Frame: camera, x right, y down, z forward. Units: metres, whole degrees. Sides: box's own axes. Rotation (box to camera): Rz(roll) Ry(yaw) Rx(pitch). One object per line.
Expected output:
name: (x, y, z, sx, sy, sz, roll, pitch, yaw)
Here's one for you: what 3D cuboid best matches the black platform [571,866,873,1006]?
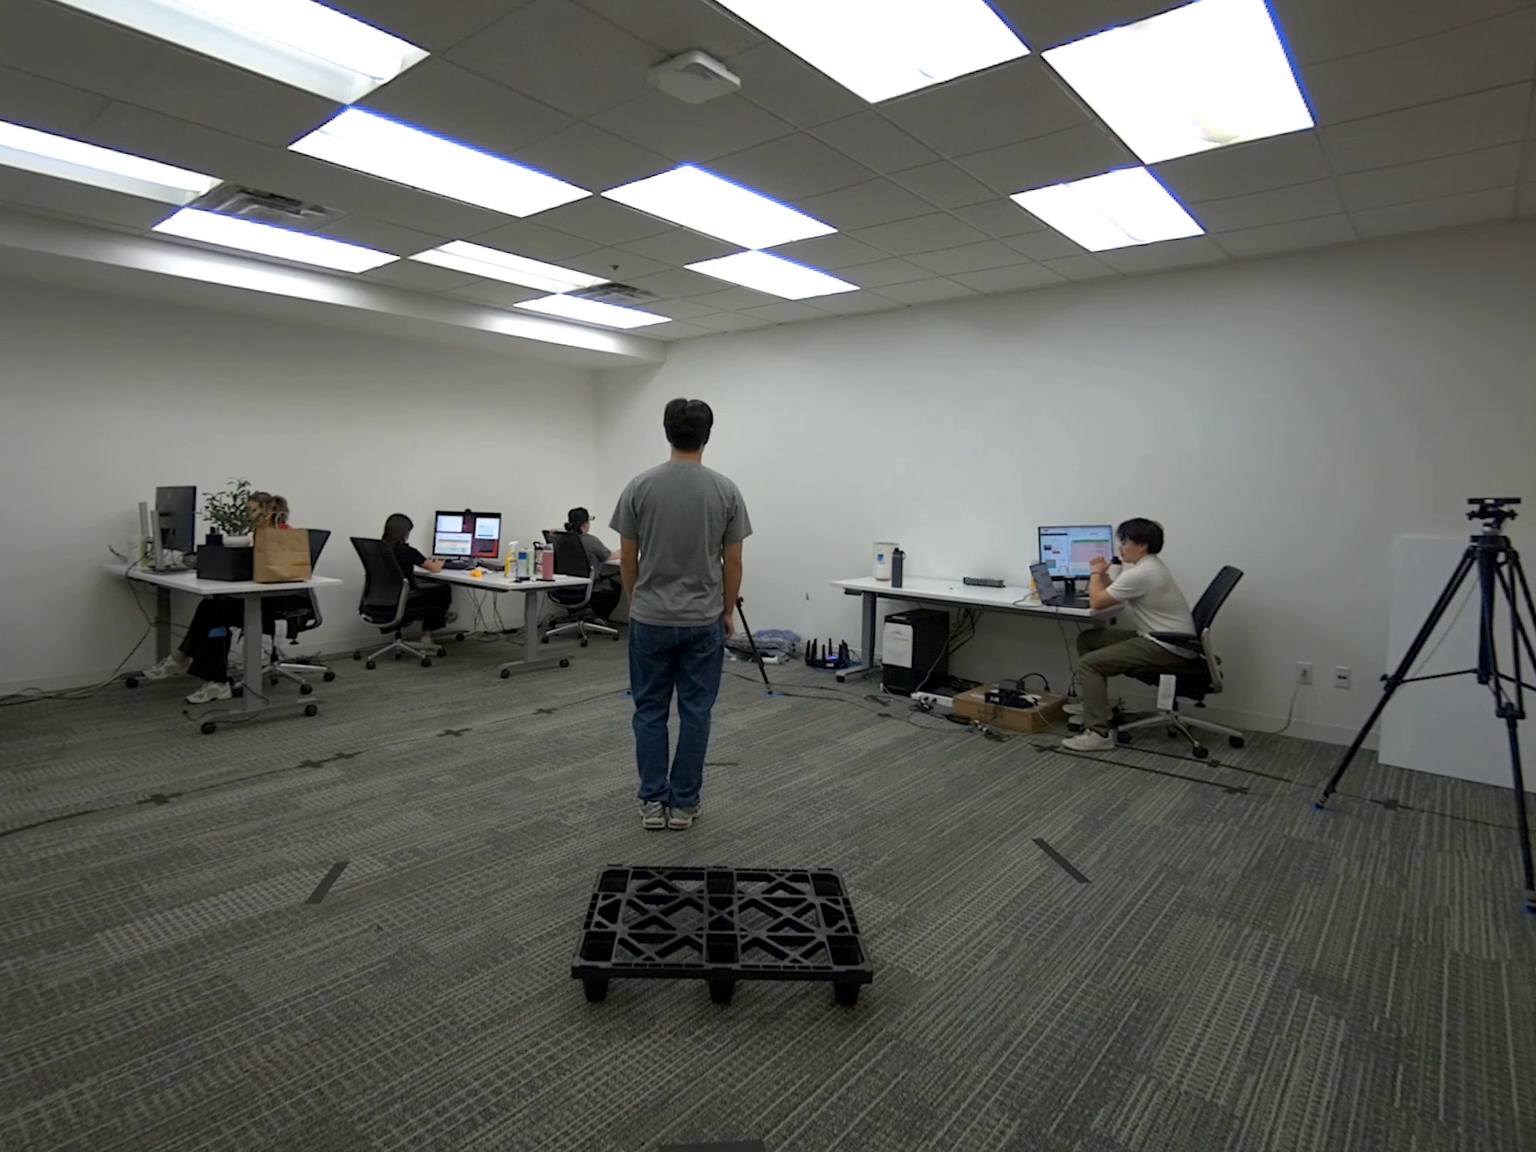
black platform: (-0.145, 1.057, 2.523, 0.804, 0.143, 0.608, 1, 5, -2)
